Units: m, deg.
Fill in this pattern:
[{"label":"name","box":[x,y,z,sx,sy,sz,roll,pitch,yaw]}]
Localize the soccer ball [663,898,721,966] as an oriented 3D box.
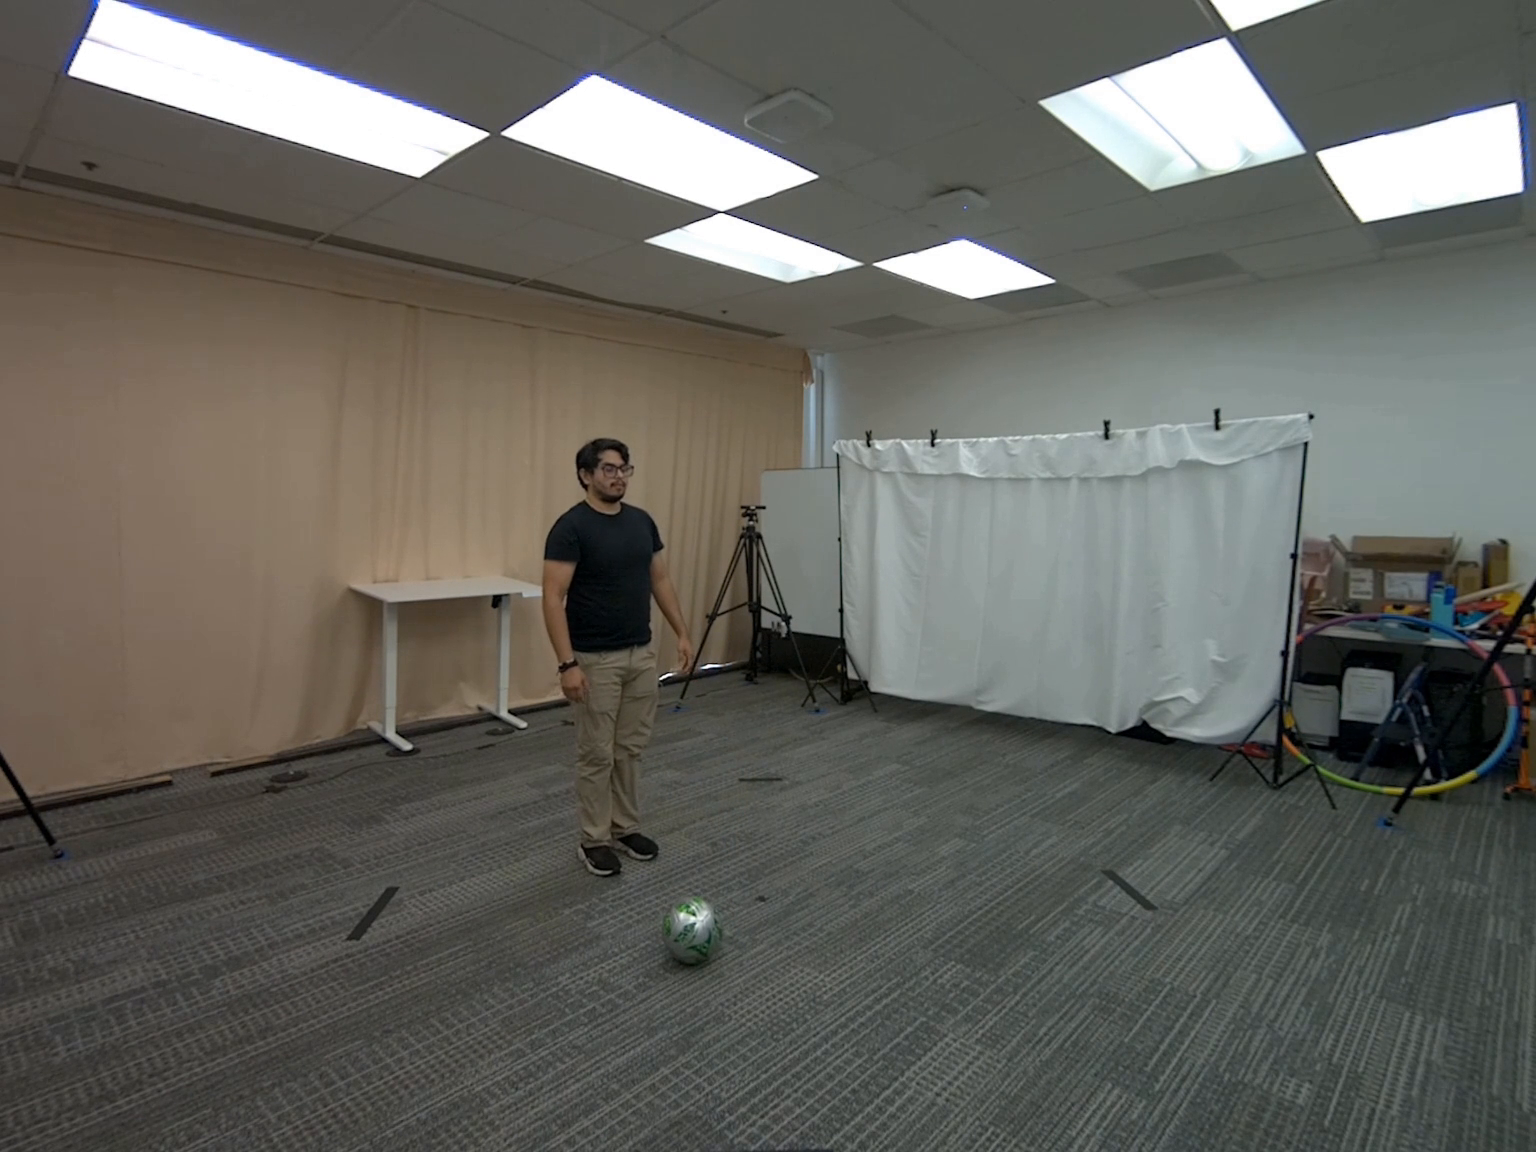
[{"label":"soccer ball","box":[-0.227,1.087,2.579,0.187,0.187,0.188,0,4,-2]}]
